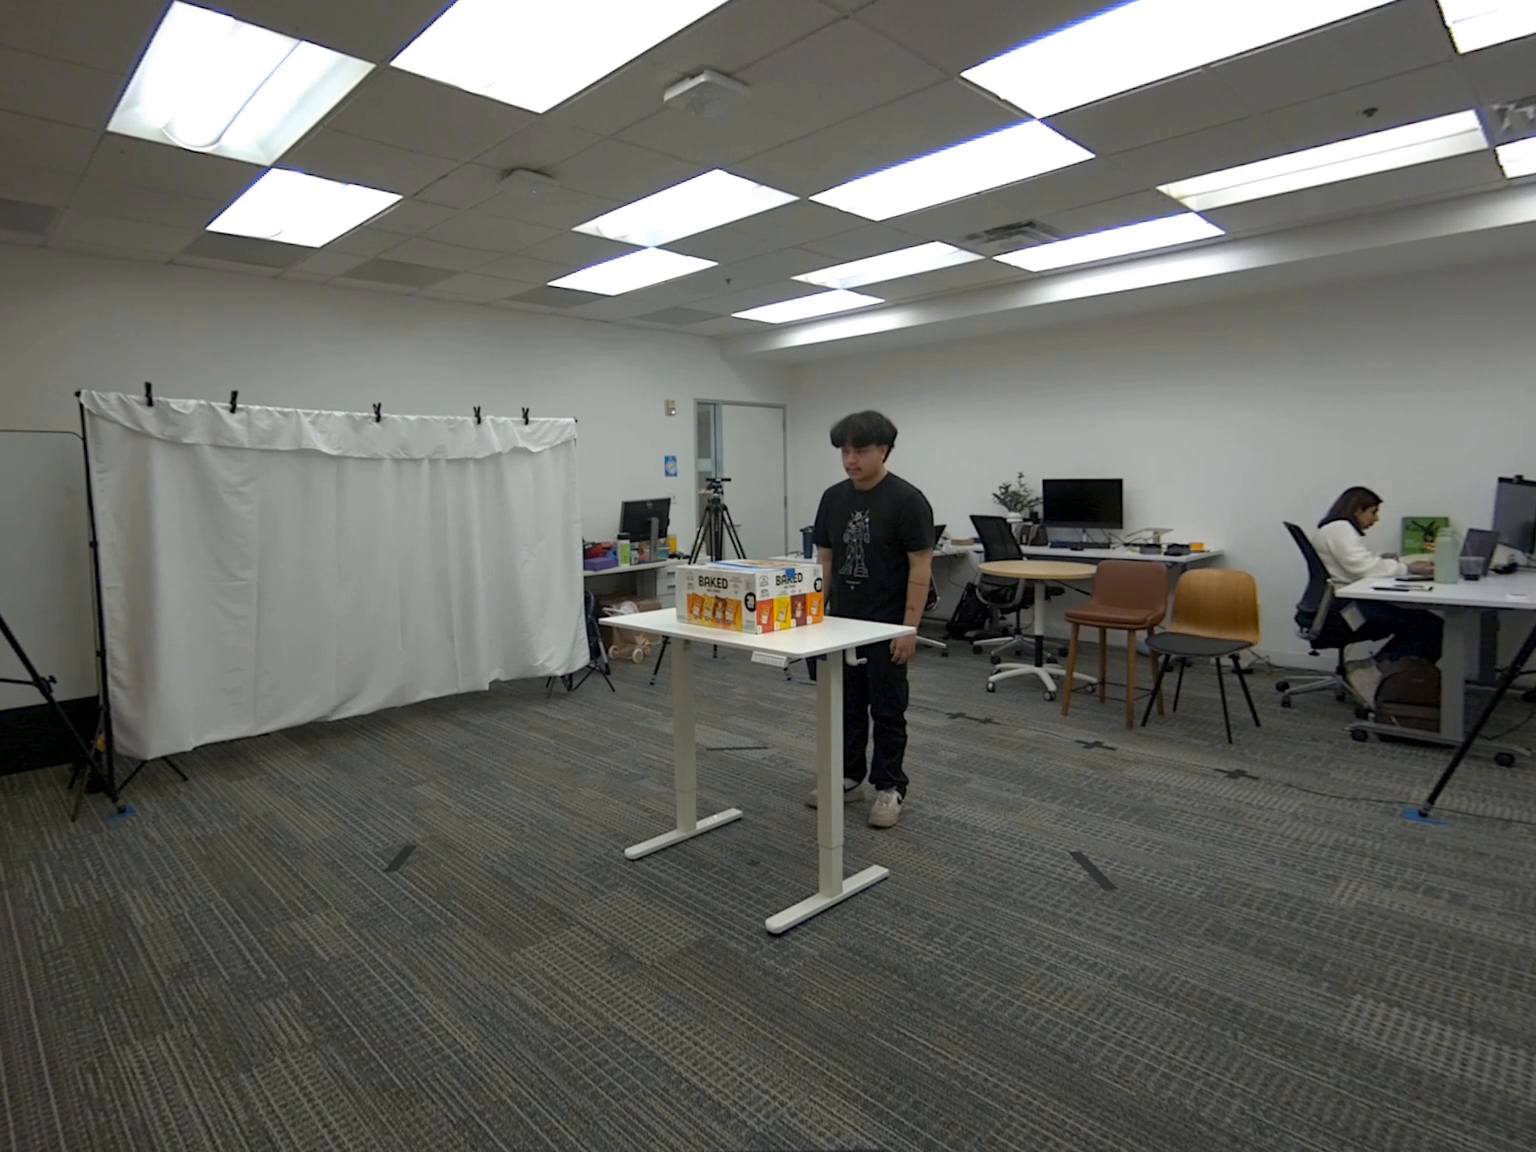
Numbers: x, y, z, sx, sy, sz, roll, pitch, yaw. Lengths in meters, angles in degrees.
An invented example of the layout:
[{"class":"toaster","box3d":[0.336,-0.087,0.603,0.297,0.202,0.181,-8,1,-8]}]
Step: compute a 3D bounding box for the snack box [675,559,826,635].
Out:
[{"class":"snack box","box3d":[-0.068,0.064,3.046,0.417,0.205,0.331,4,7,45]}]
